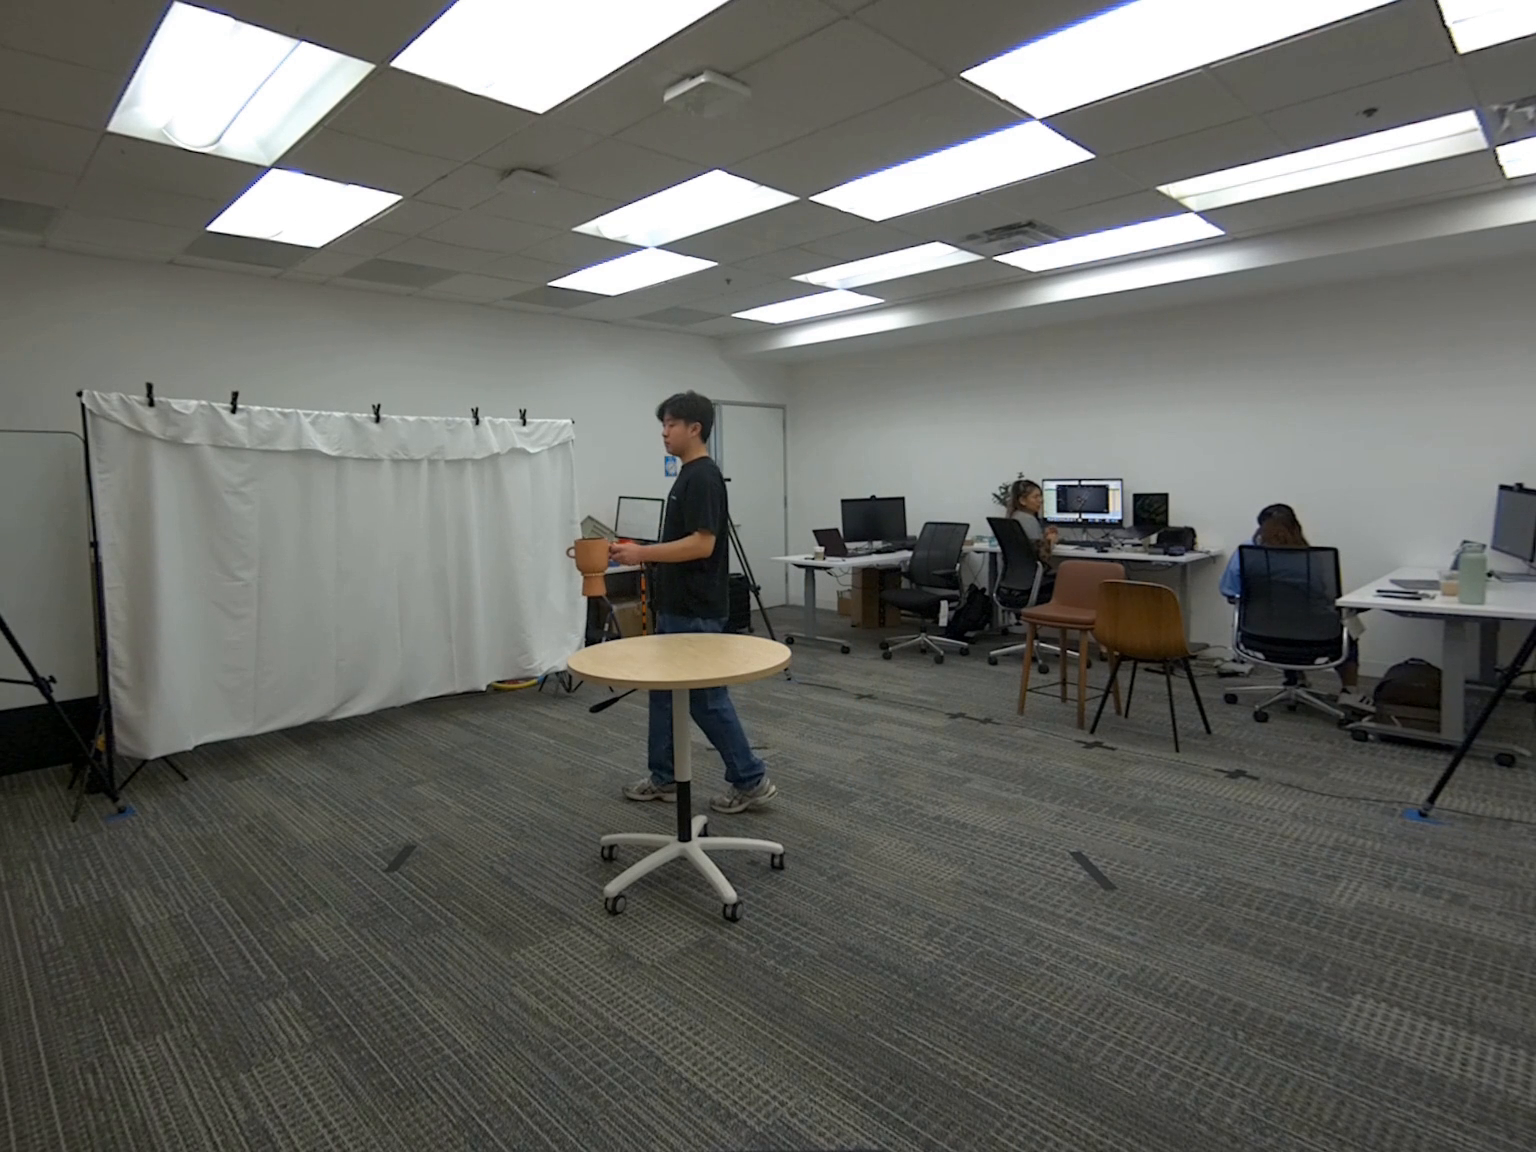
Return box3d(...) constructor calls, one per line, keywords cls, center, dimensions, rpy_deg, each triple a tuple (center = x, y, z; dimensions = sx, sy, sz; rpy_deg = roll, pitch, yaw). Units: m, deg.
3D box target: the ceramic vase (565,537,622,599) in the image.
box3d(cls="ceramic vase", center=(-0.683, -0.036, 3.348), dimensions=(0.163, 0.219, 0.131), rpy_deg=(2, 6, 36))
